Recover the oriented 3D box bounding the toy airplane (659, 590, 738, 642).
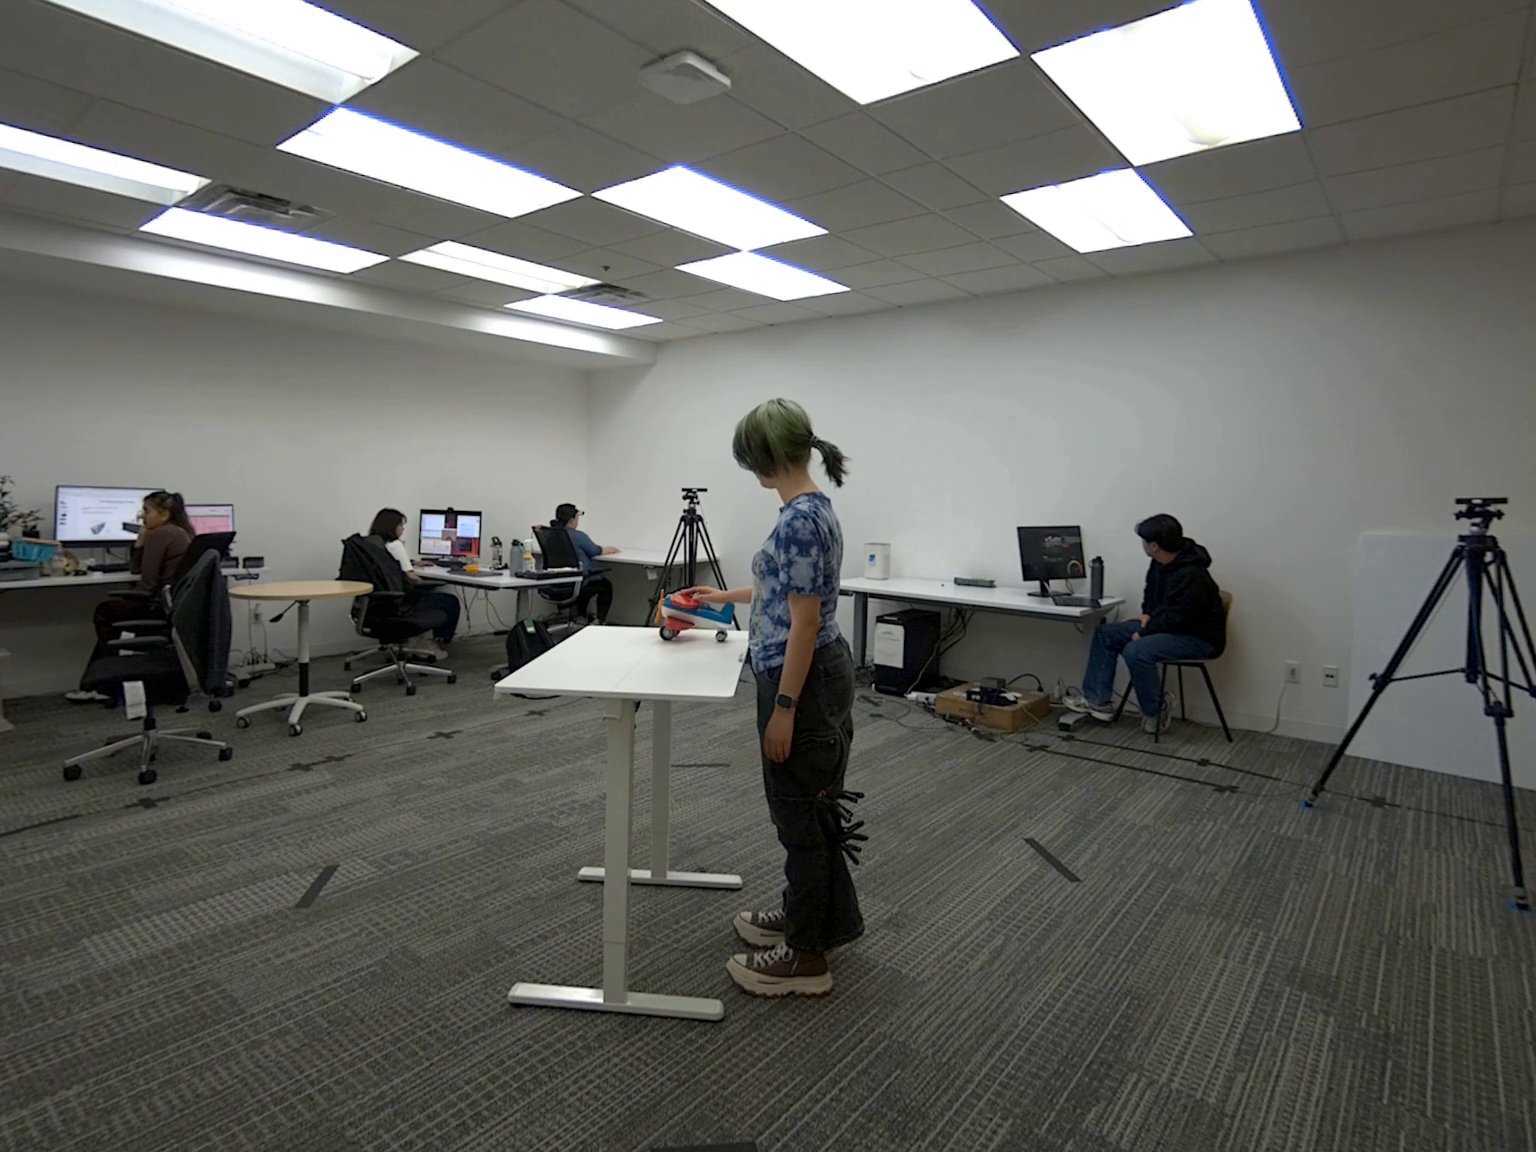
[{"bbox_3d":[-0.261,0.135,2.892,0.254,0.156,0.257,-1,5,-22],"label":"toy airplane"}]
